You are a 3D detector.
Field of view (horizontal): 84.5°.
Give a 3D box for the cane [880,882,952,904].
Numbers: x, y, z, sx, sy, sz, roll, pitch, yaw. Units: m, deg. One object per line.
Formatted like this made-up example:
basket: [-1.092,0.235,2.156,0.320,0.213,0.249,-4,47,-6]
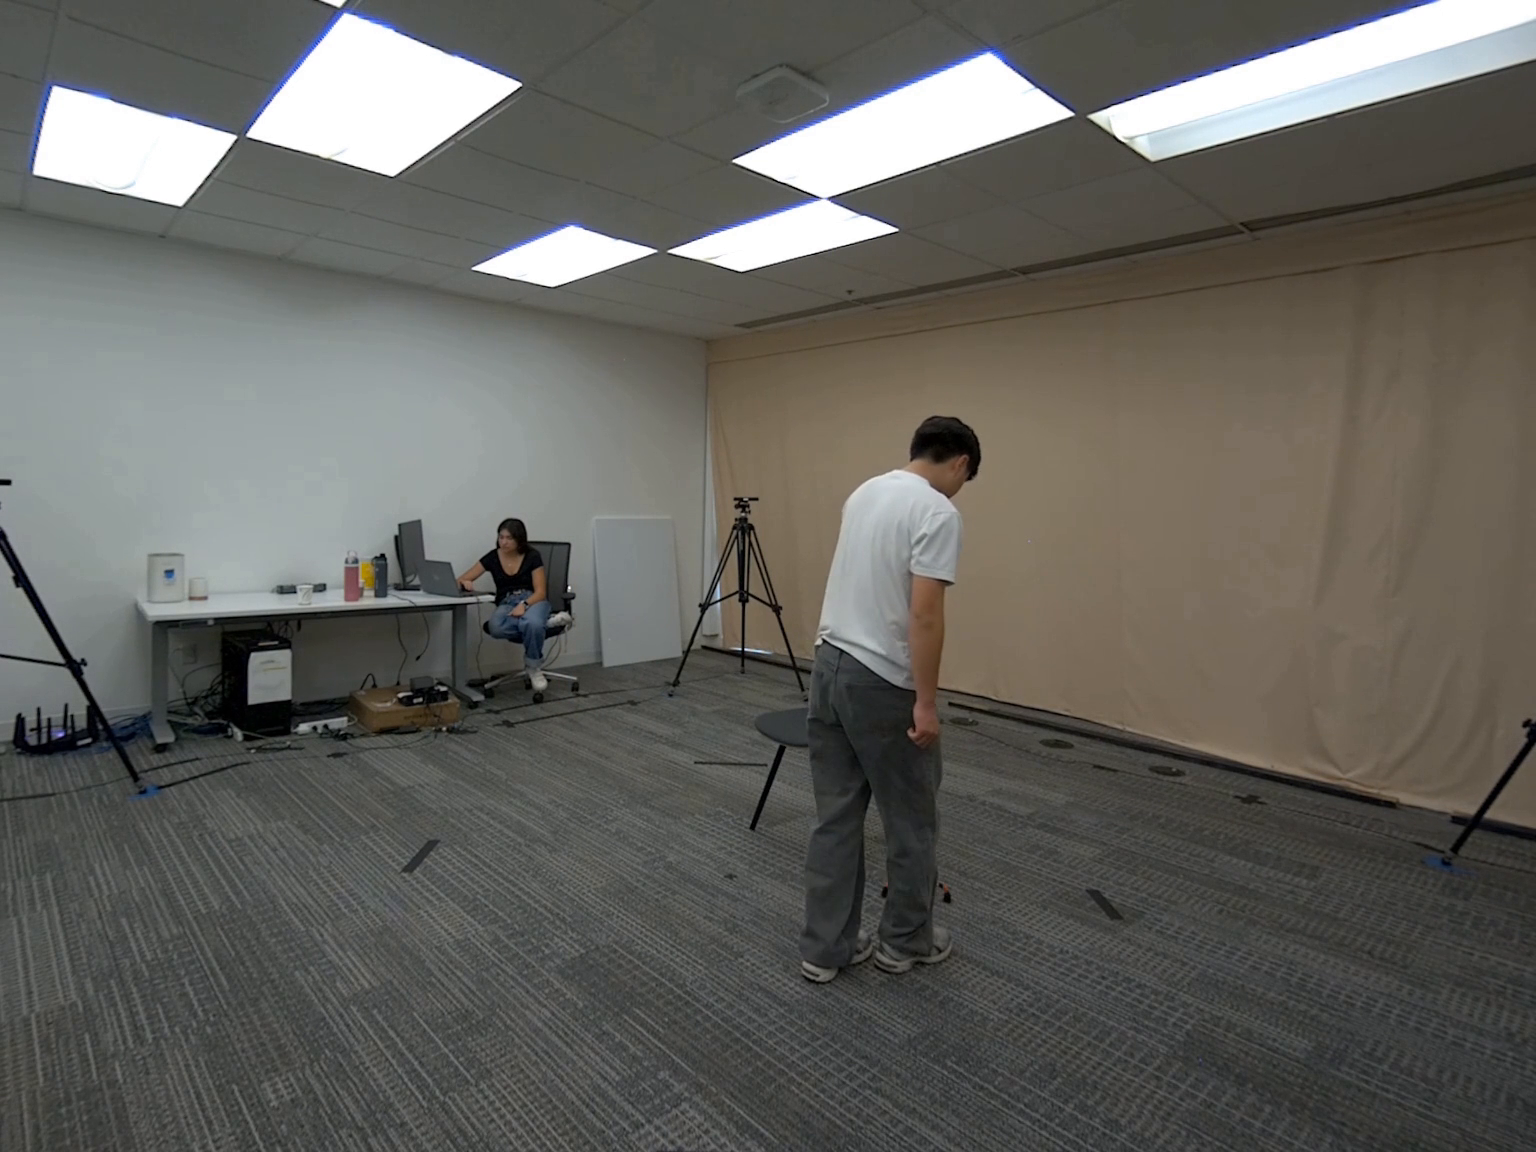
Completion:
cane: [0.541,0.694,2.933,0.202,0.907,0.155,1,2,-31]
